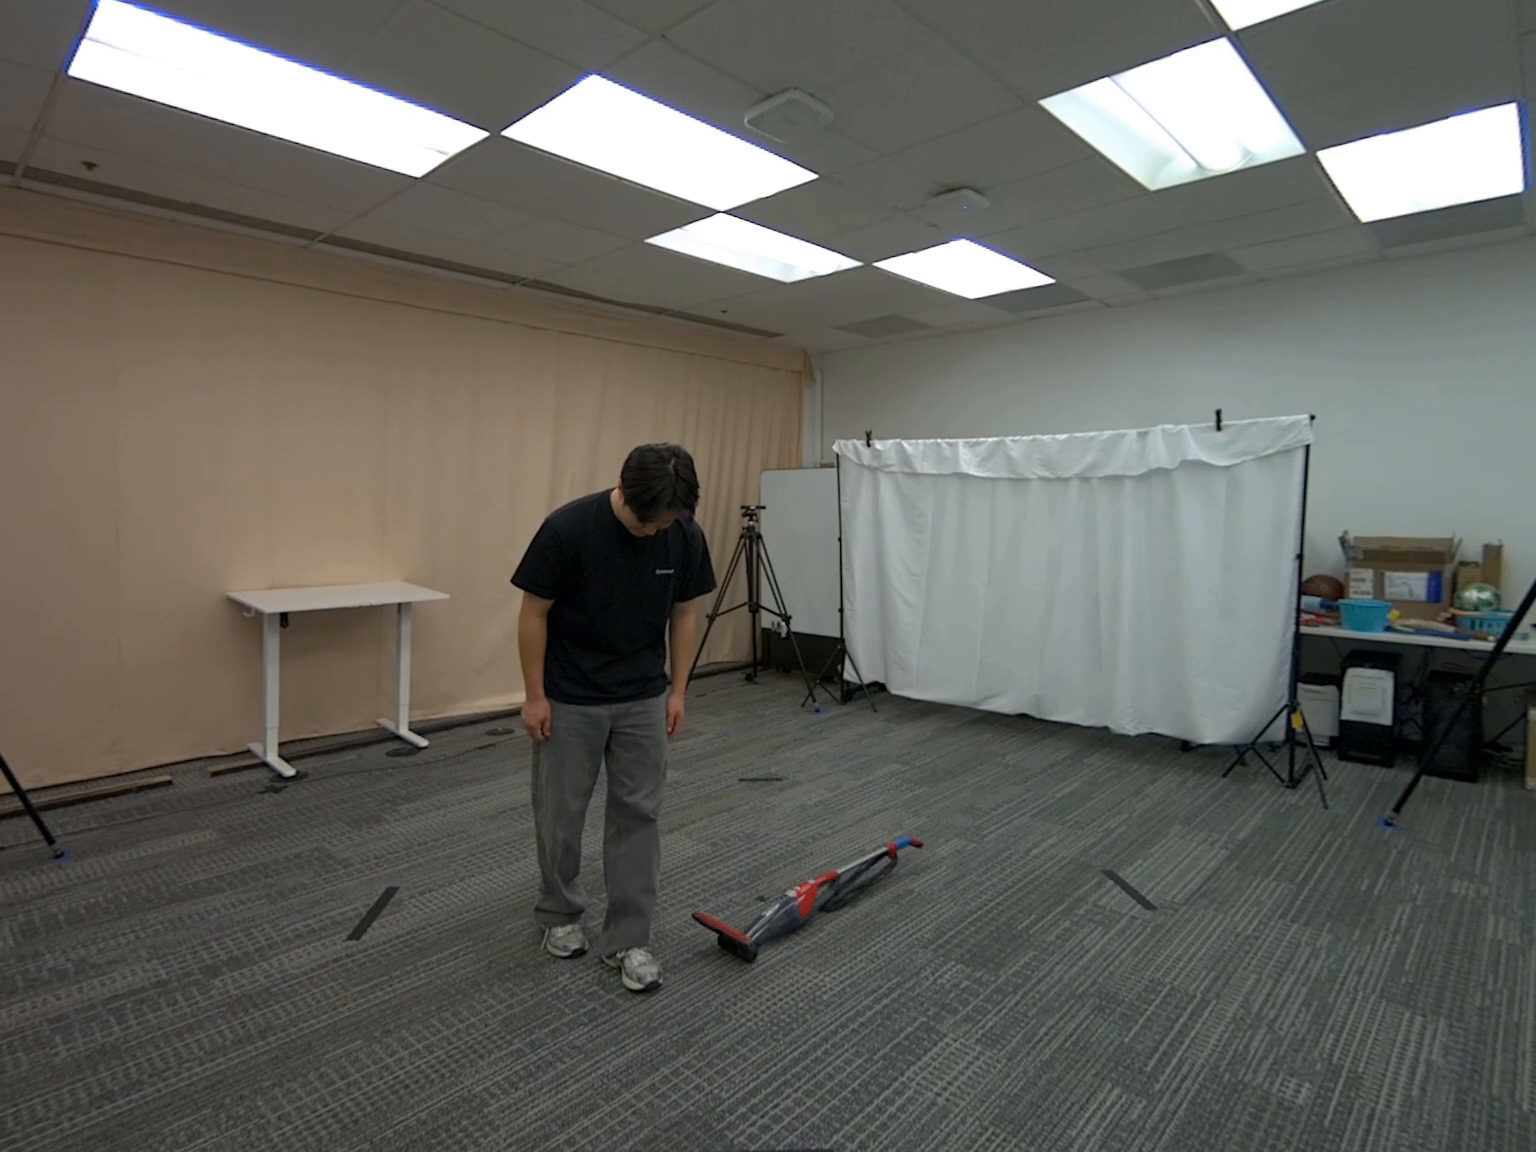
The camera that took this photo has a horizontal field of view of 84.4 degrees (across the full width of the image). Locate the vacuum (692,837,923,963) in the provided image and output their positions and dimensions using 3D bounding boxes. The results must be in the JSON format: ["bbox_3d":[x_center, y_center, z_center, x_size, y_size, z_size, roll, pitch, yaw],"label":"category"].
[{"bbox_3d":[0.237,1.093,2.932,1.017,0.144,0.261,-4,5,-44],"label":"vacuum"}]
